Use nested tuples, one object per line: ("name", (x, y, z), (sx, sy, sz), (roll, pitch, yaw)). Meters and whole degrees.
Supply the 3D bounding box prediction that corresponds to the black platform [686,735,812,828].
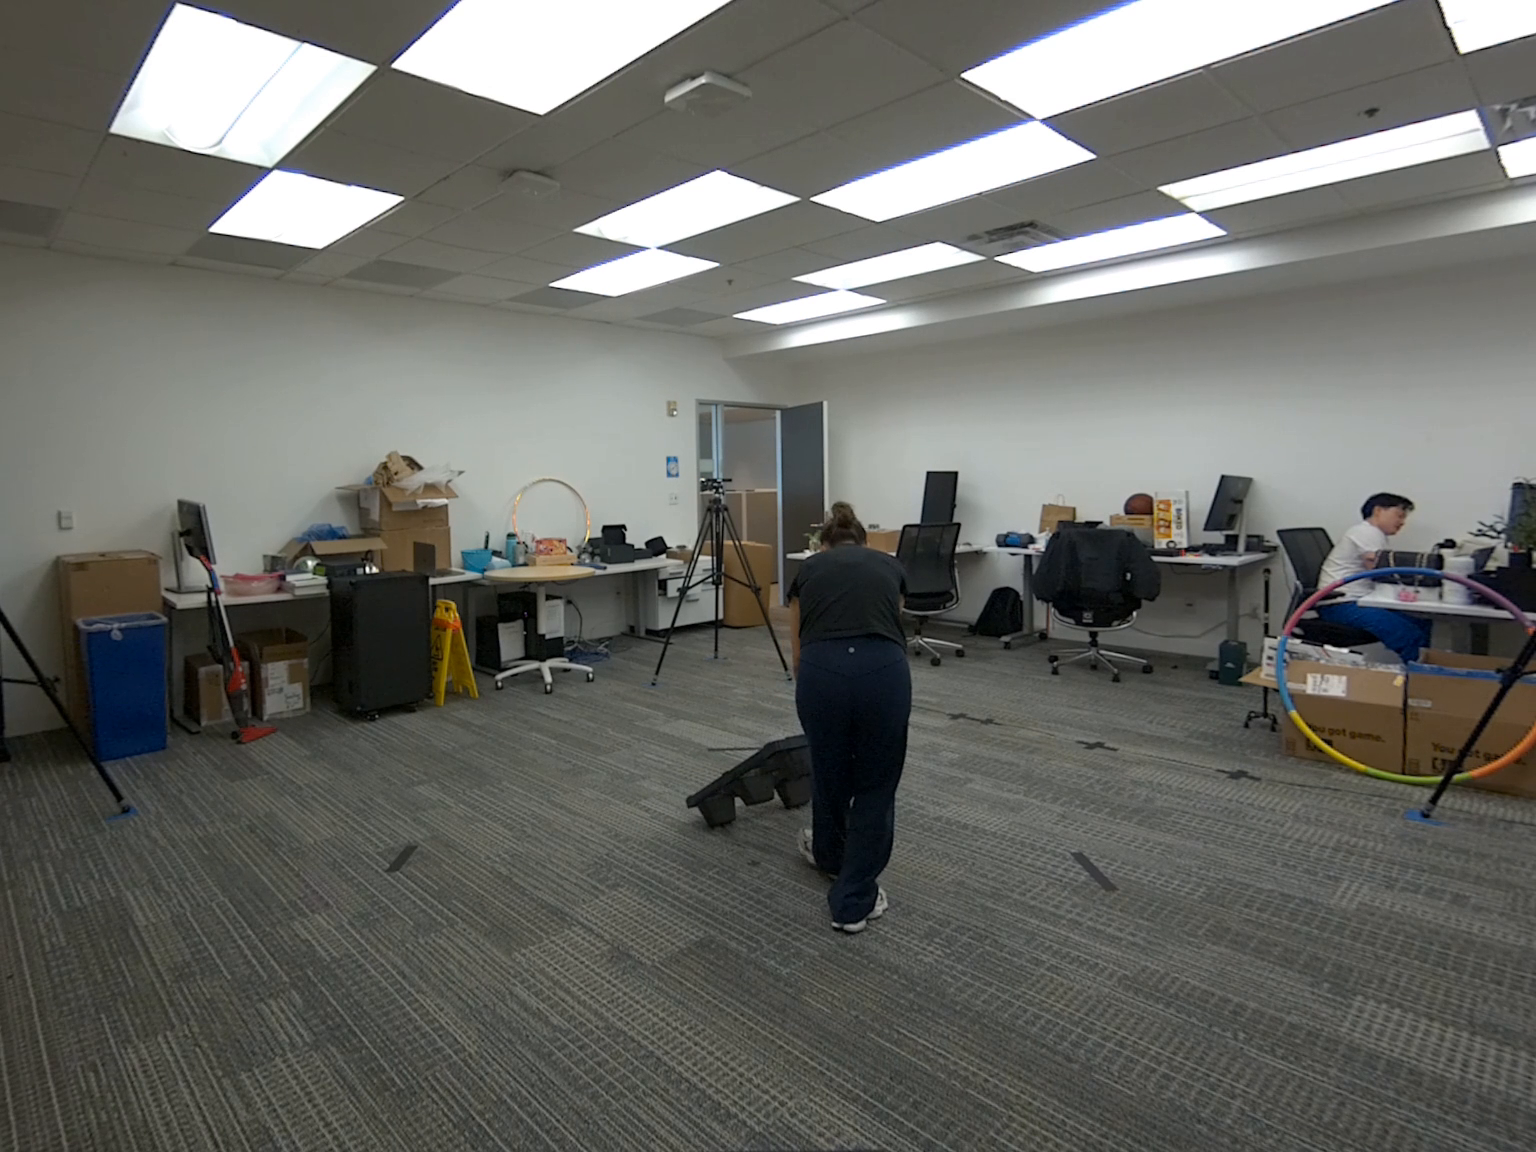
("black platform", (0.108, 0.764, 3.302), (0.590, 0.147, 0.805), (-5, -25, -33))
